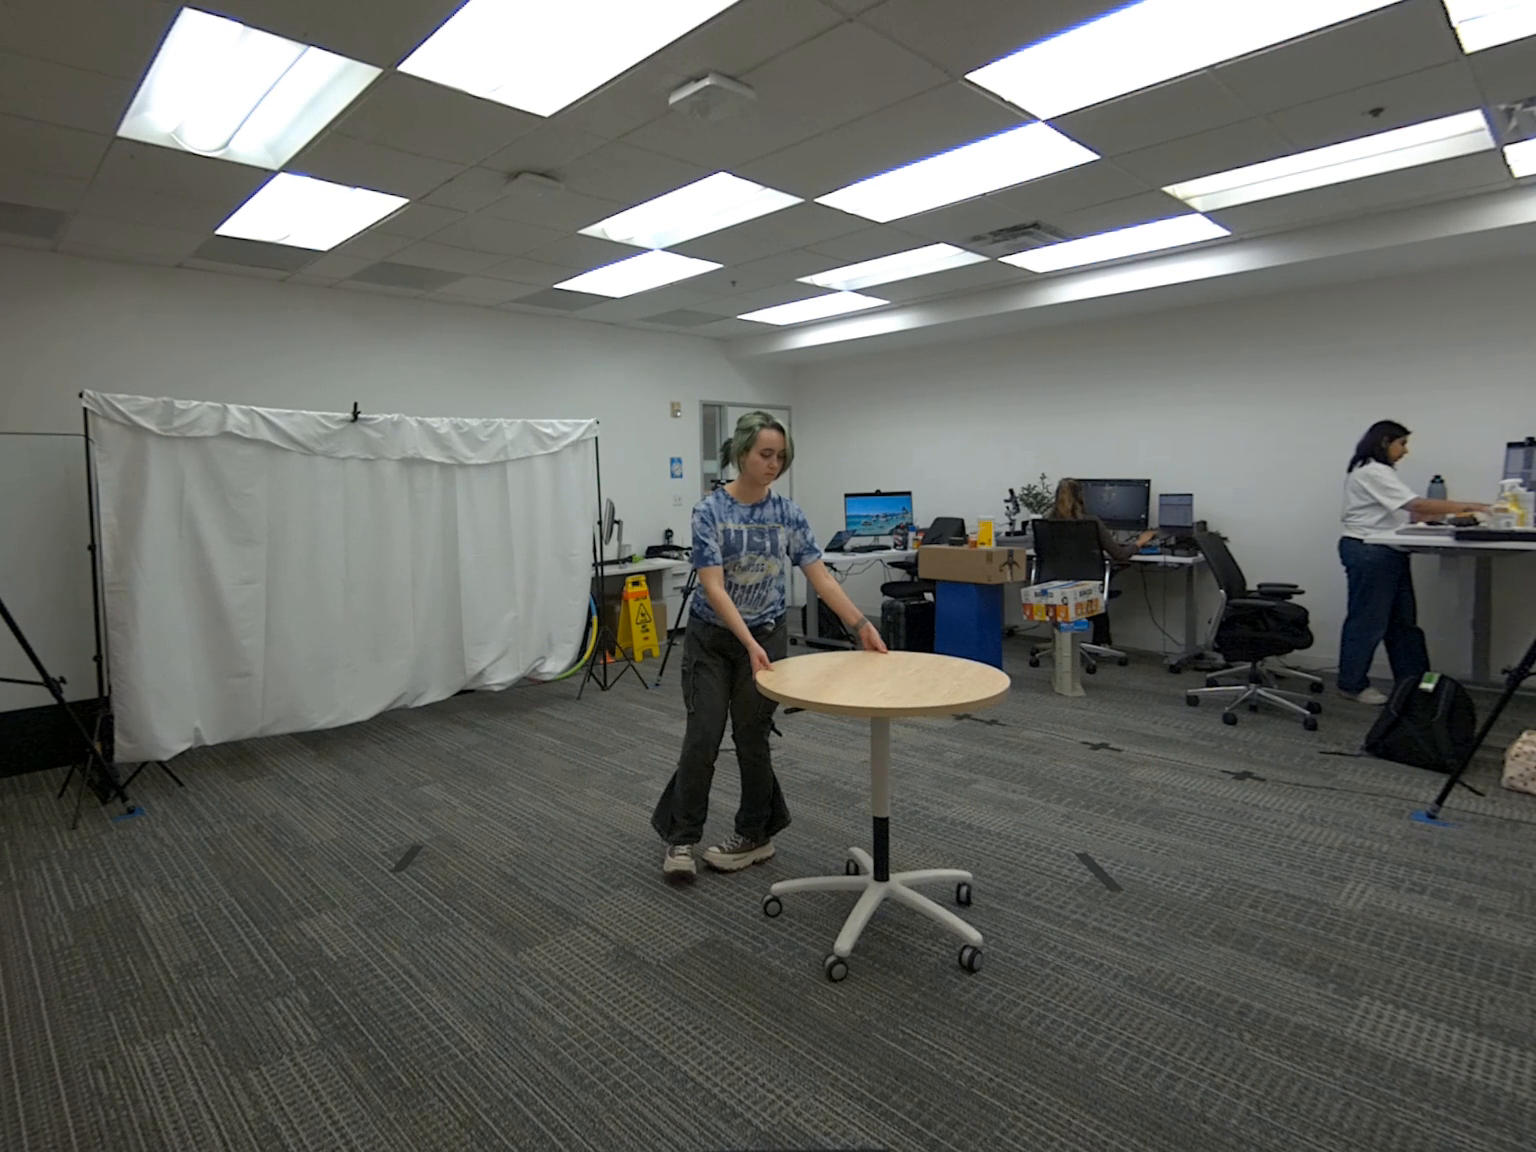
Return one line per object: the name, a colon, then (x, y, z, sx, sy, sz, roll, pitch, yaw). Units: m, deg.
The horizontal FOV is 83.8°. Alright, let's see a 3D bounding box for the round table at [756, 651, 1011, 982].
round table: (0.349, 0.701, 2.658, 0.763, 0.791, 0.768, -1, 5, -2)
